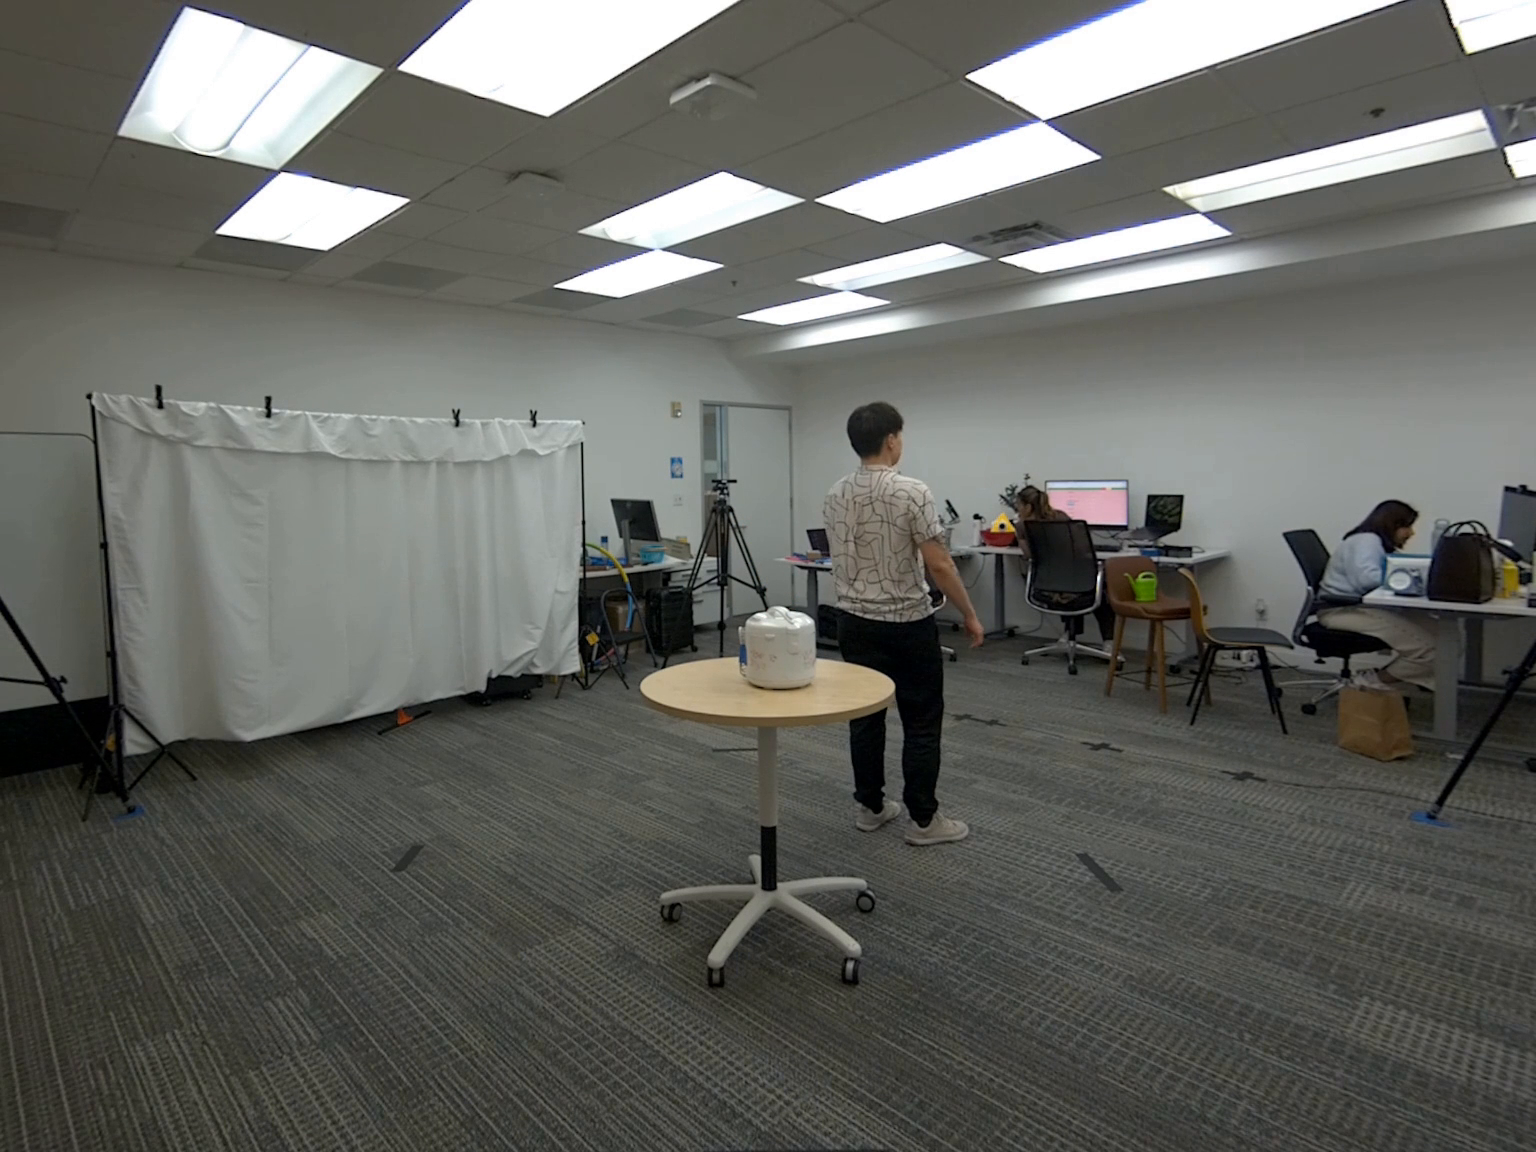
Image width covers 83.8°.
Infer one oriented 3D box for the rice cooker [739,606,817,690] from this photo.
[{"bbox_3d":[0.038,0.208,2.570,0.214,0.231,0.225,-3,6,-19],"label":"rice cooker"}]
